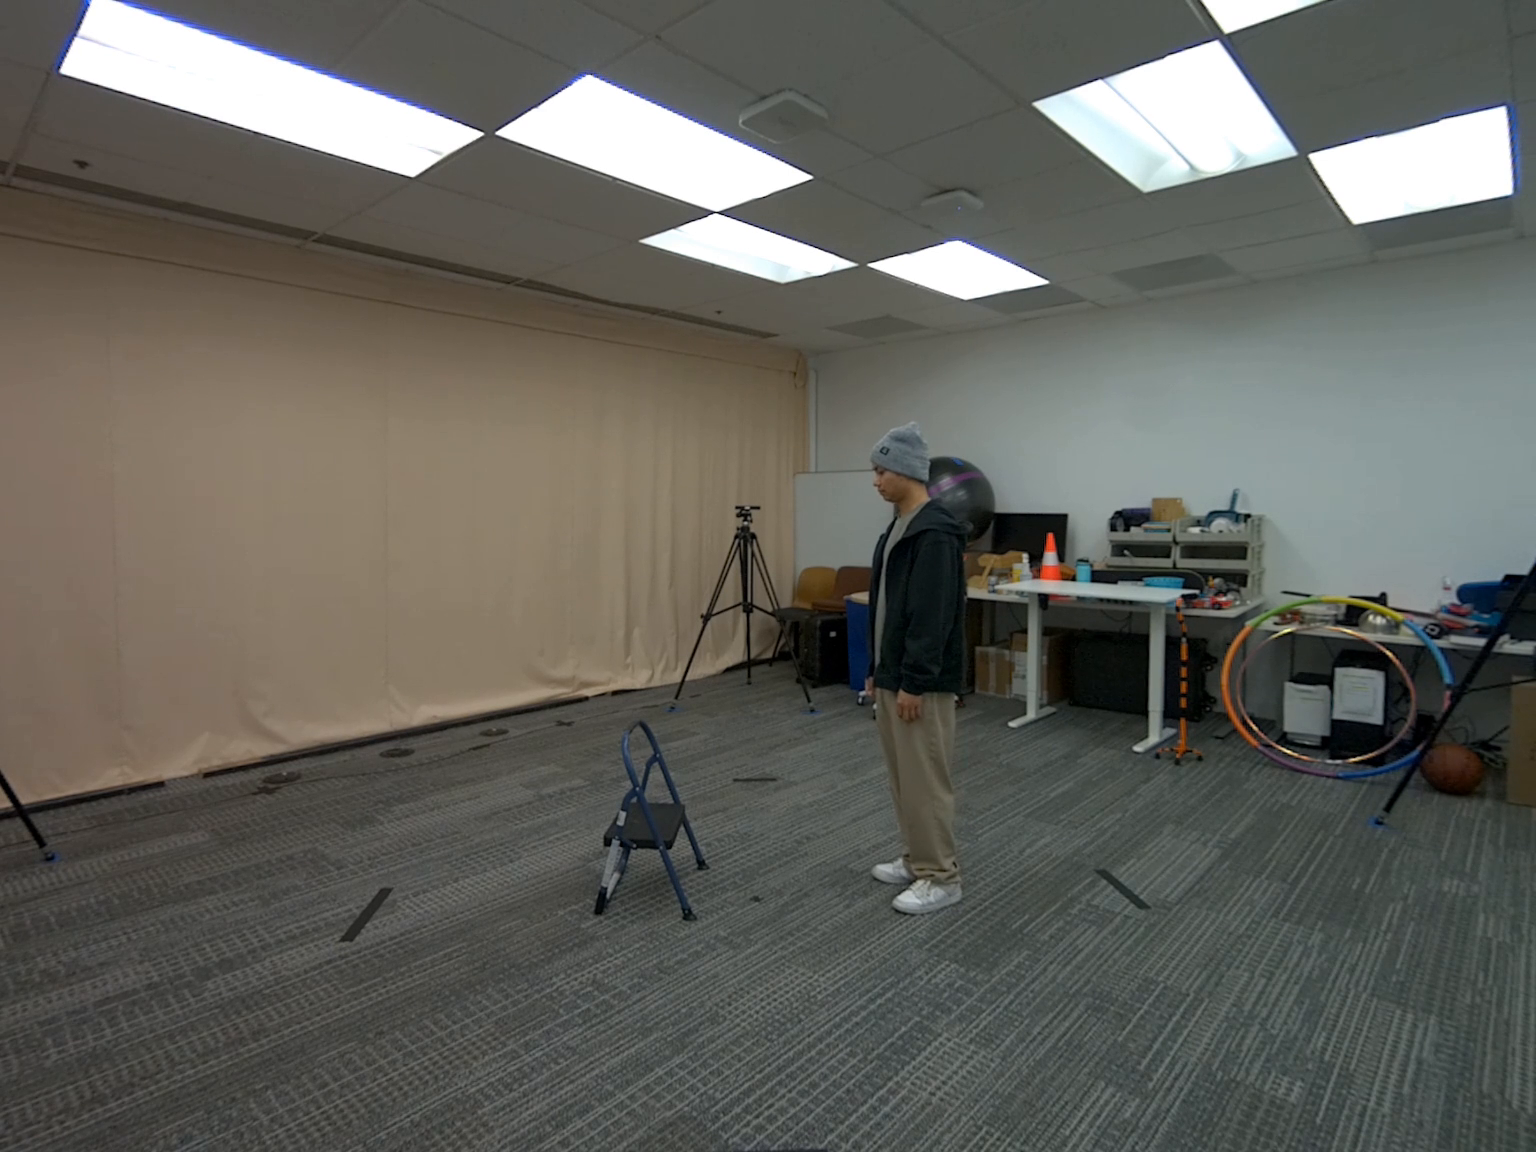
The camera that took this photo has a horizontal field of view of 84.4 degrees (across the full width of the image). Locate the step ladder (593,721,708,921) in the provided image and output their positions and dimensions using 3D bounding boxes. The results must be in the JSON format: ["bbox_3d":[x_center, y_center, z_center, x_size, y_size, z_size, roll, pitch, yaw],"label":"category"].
[{"bbox_3d":[-0.415,0.843,3.047,0.351,0.605,0.429,0,3,3],"label":"step ladder"}]
